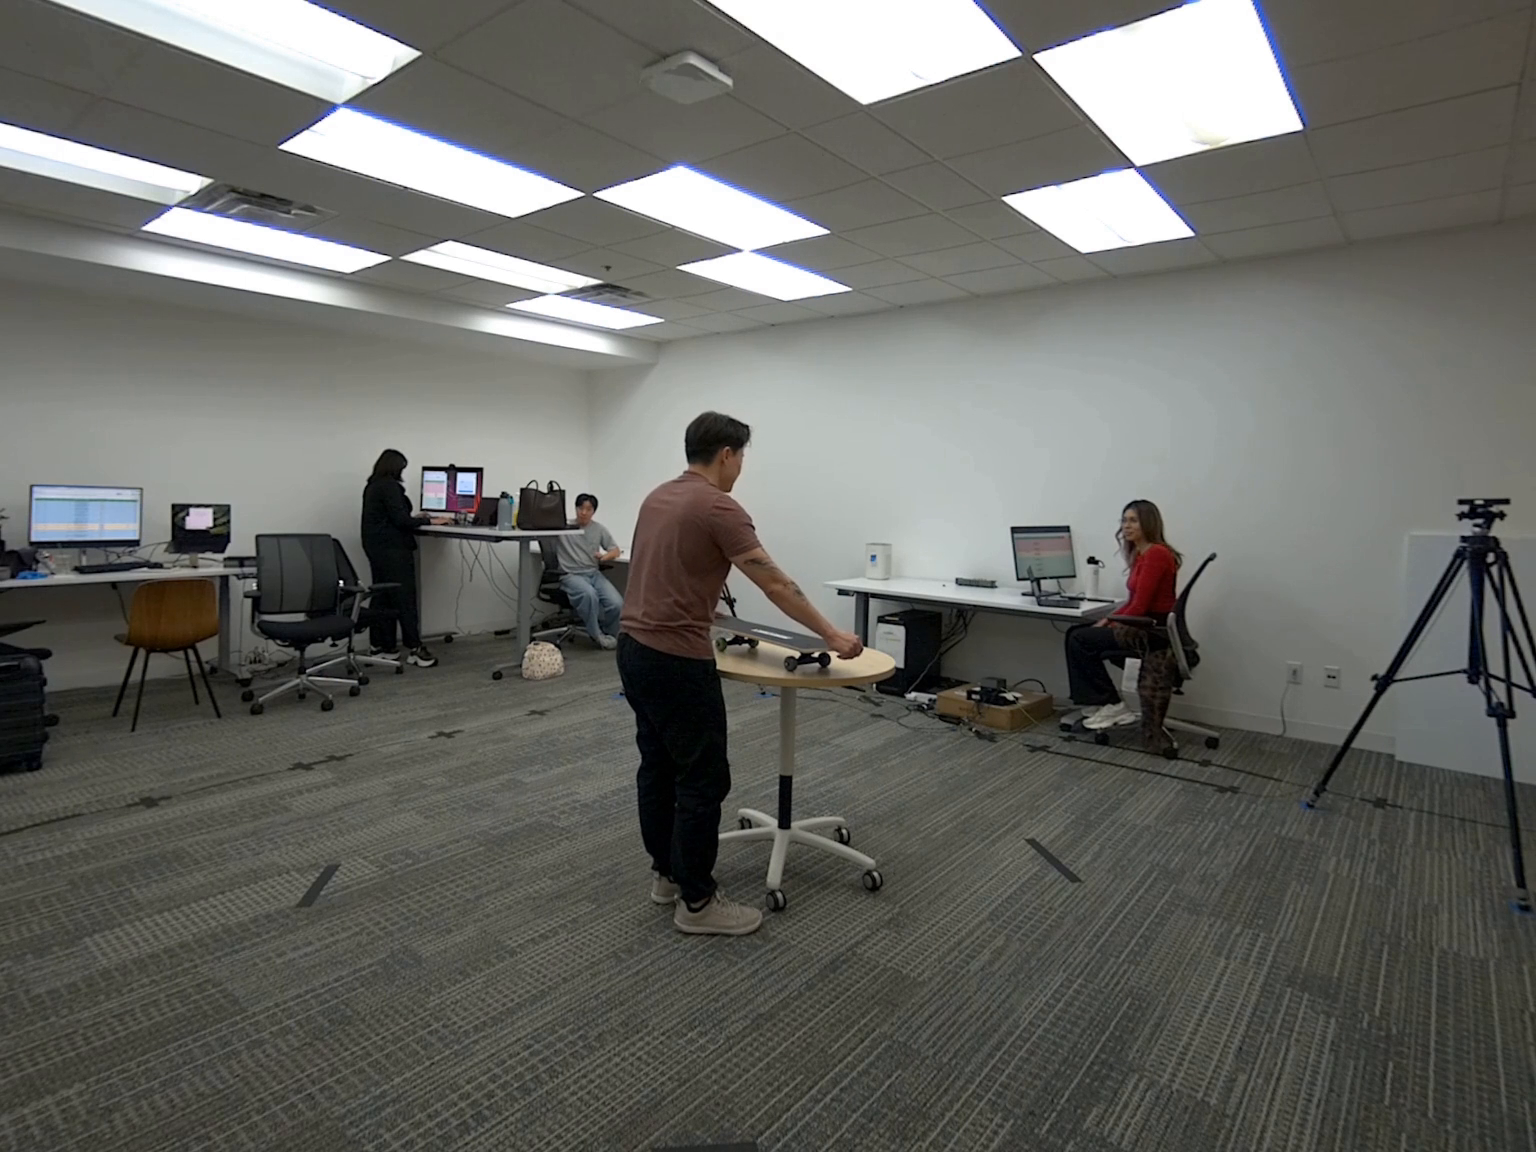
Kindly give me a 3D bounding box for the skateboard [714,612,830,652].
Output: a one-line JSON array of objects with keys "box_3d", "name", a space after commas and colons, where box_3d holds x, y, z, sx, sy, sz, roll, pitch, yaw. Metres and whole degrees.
[{"box_3d": [-0.009, 0.243, 3.057, 0.188, 0.110, 0.812, -1, 6, -37], "name": "skateboard"}]
